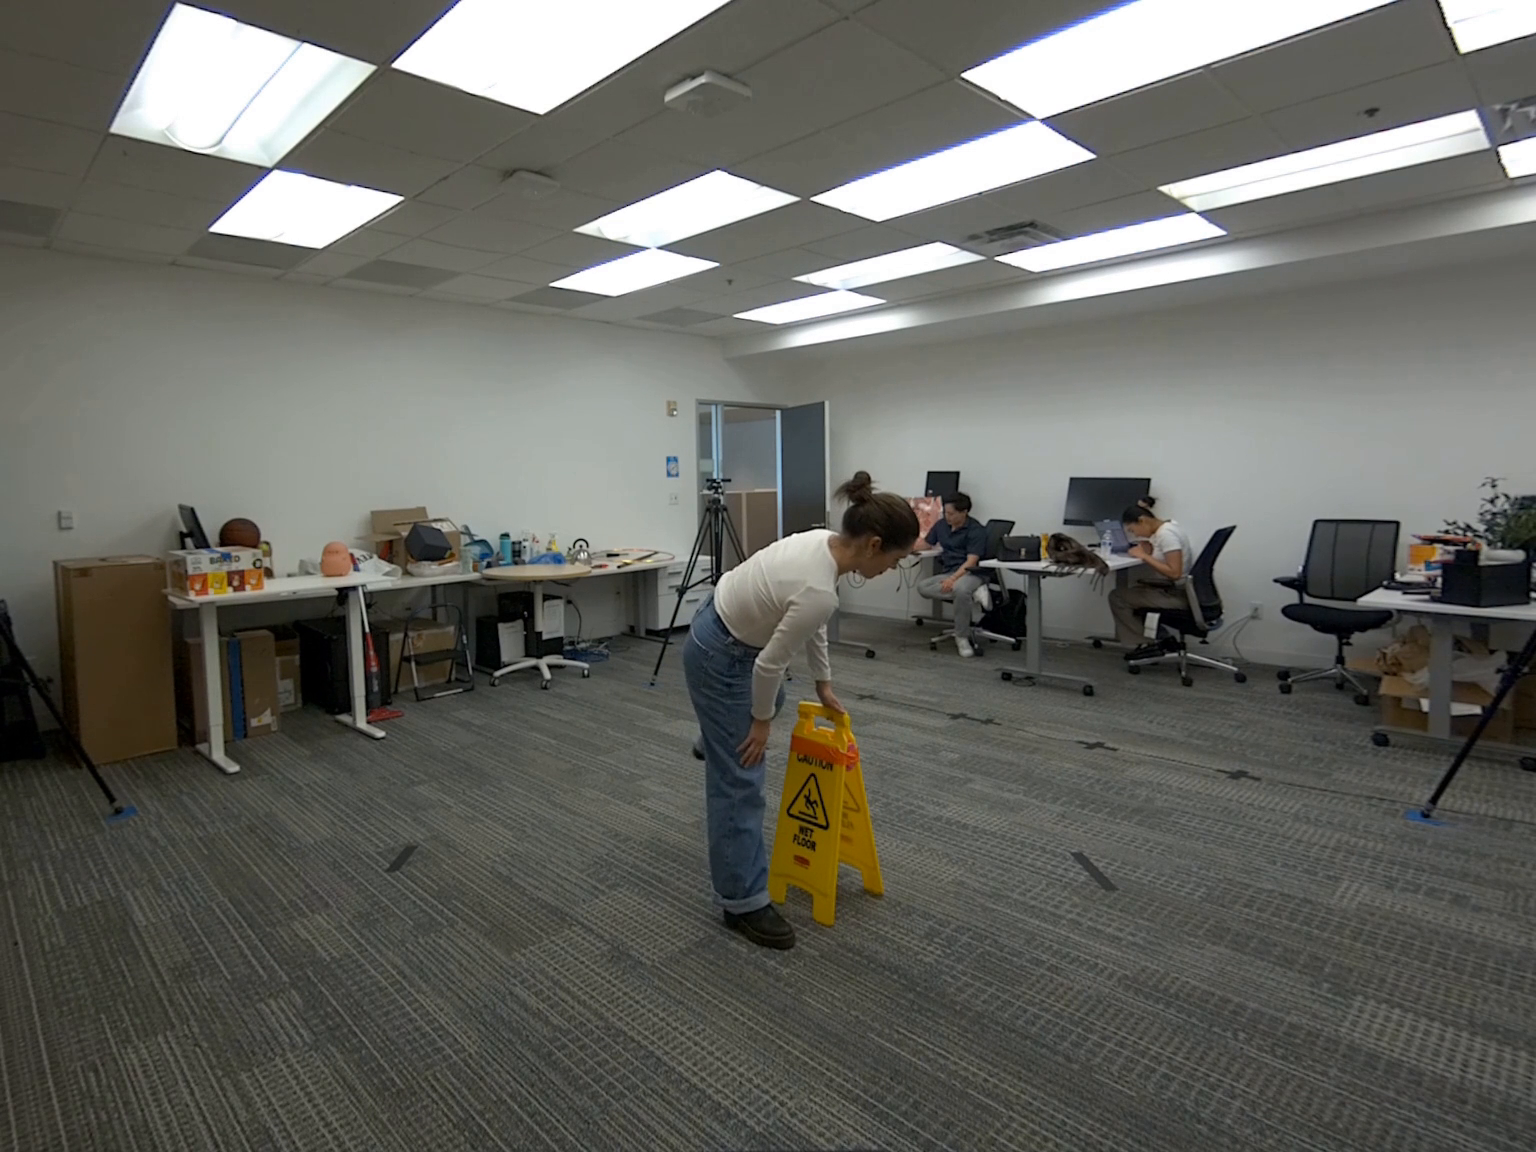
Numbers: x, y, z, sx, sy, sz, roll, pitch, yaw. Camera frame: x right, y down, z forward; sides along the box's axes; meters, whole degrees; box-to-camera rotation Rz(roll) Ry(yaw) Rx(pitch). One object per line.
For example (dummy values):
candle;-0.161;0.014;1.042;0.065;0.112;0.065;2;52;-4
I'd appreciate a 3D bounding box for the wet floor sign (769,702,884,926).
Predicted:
wet floor sign;0.187;0.749;2.830;0.291;0.643;0.282;3;6;44
